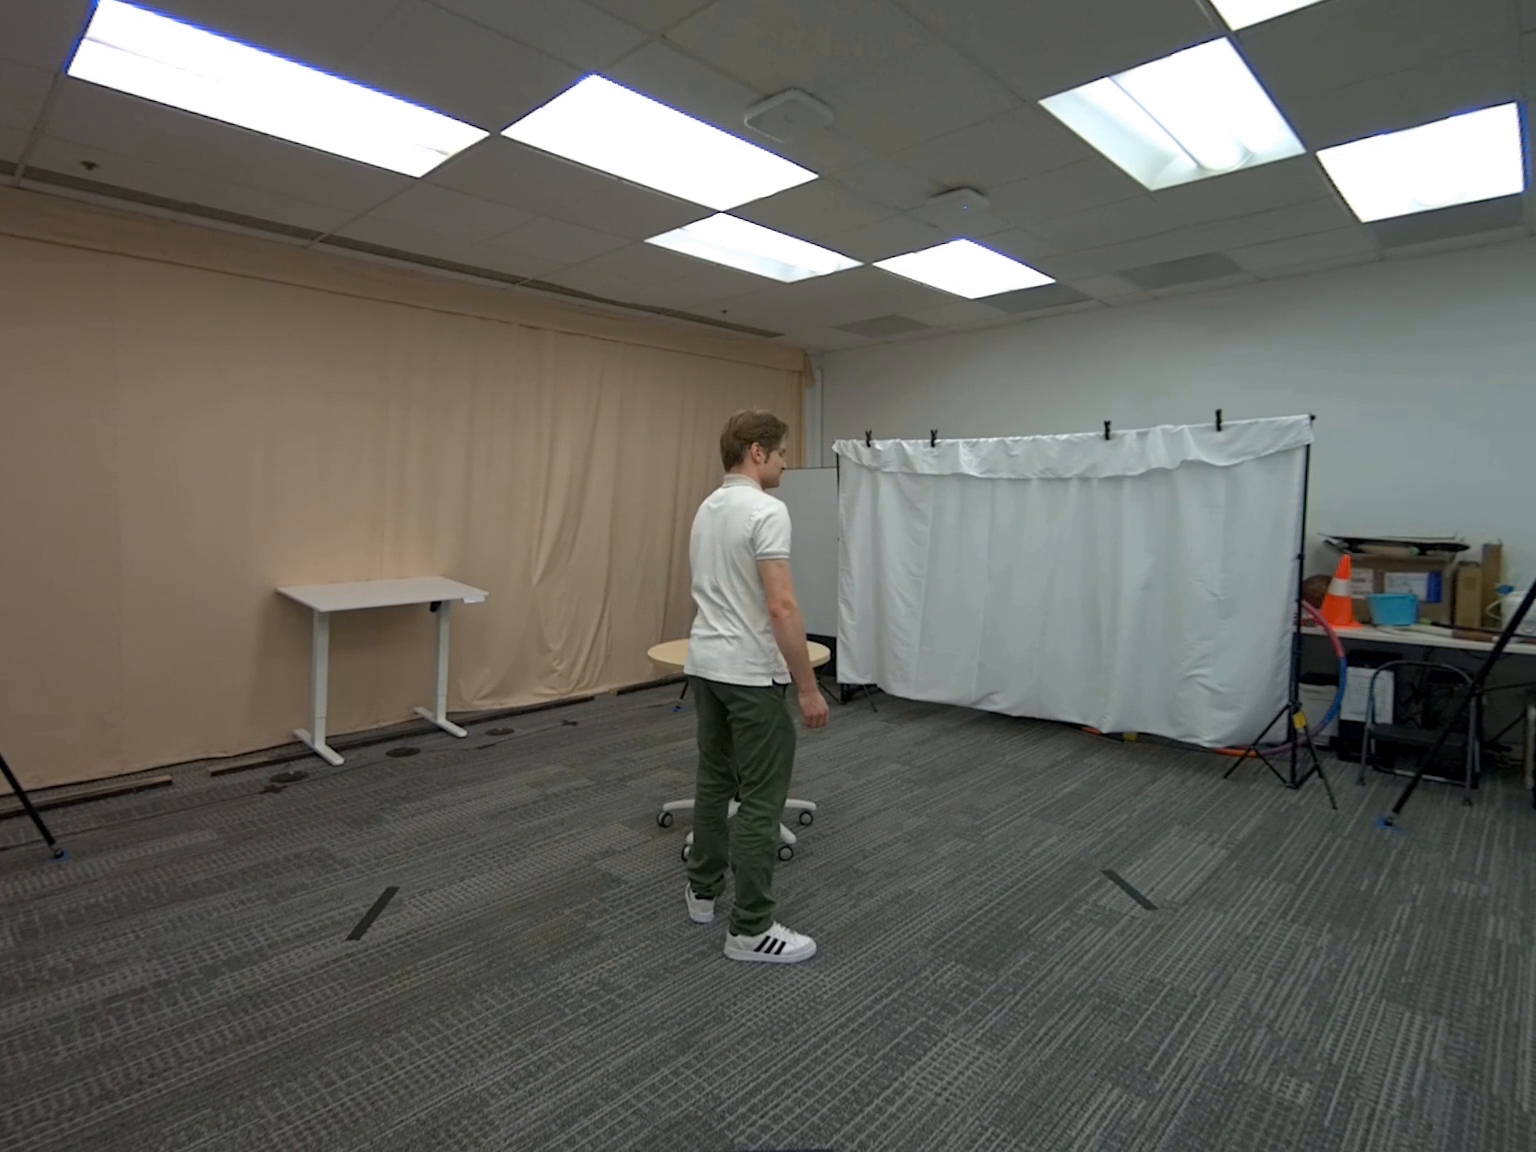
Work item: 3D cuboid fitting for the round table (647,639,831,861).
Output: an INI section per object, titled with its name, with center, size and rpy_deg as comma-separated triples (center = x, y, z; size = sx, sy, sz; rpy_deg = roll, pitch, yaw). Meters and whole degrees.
[round table]
center = -0.116, 0.706, 3.561
size = 0.763, 0.792, 0.766
rpy_deg = -1, 3, -2
